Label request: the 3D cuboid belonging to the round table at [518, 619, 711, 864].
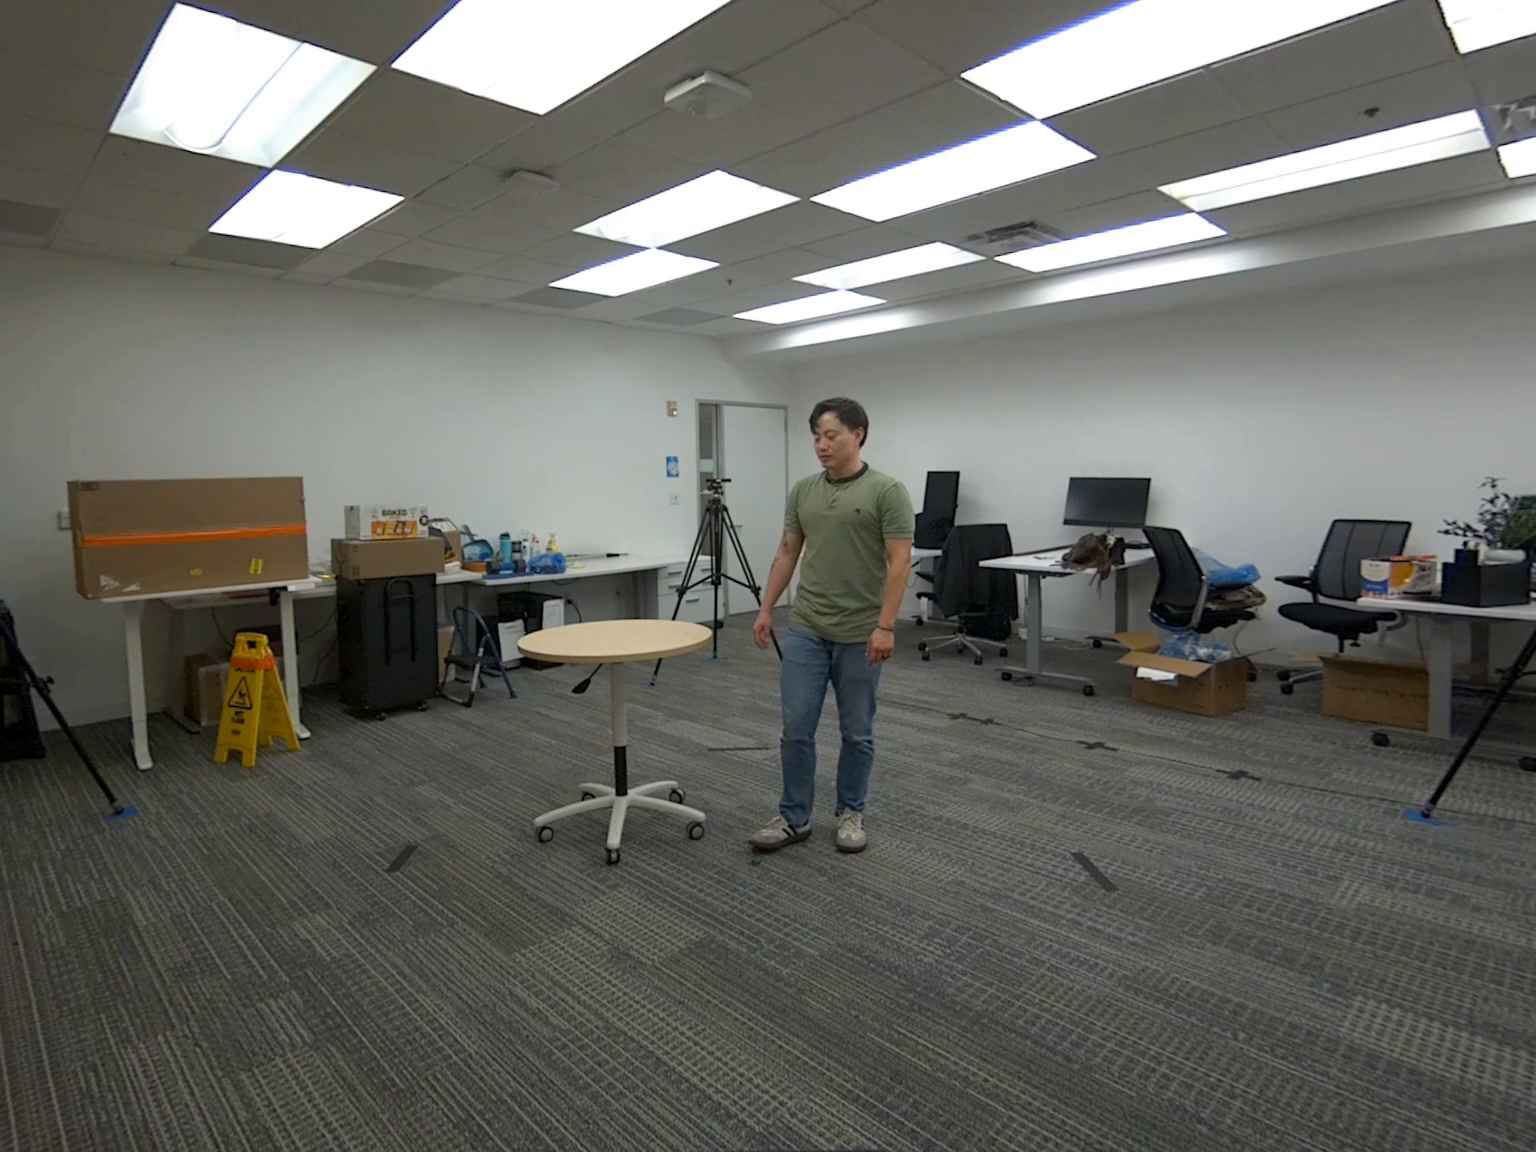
[{"bbox_3d":[-0.586,0.630,3.413,0.763,0.791,0.768,-2,4,-2],"label":"round table"}]
